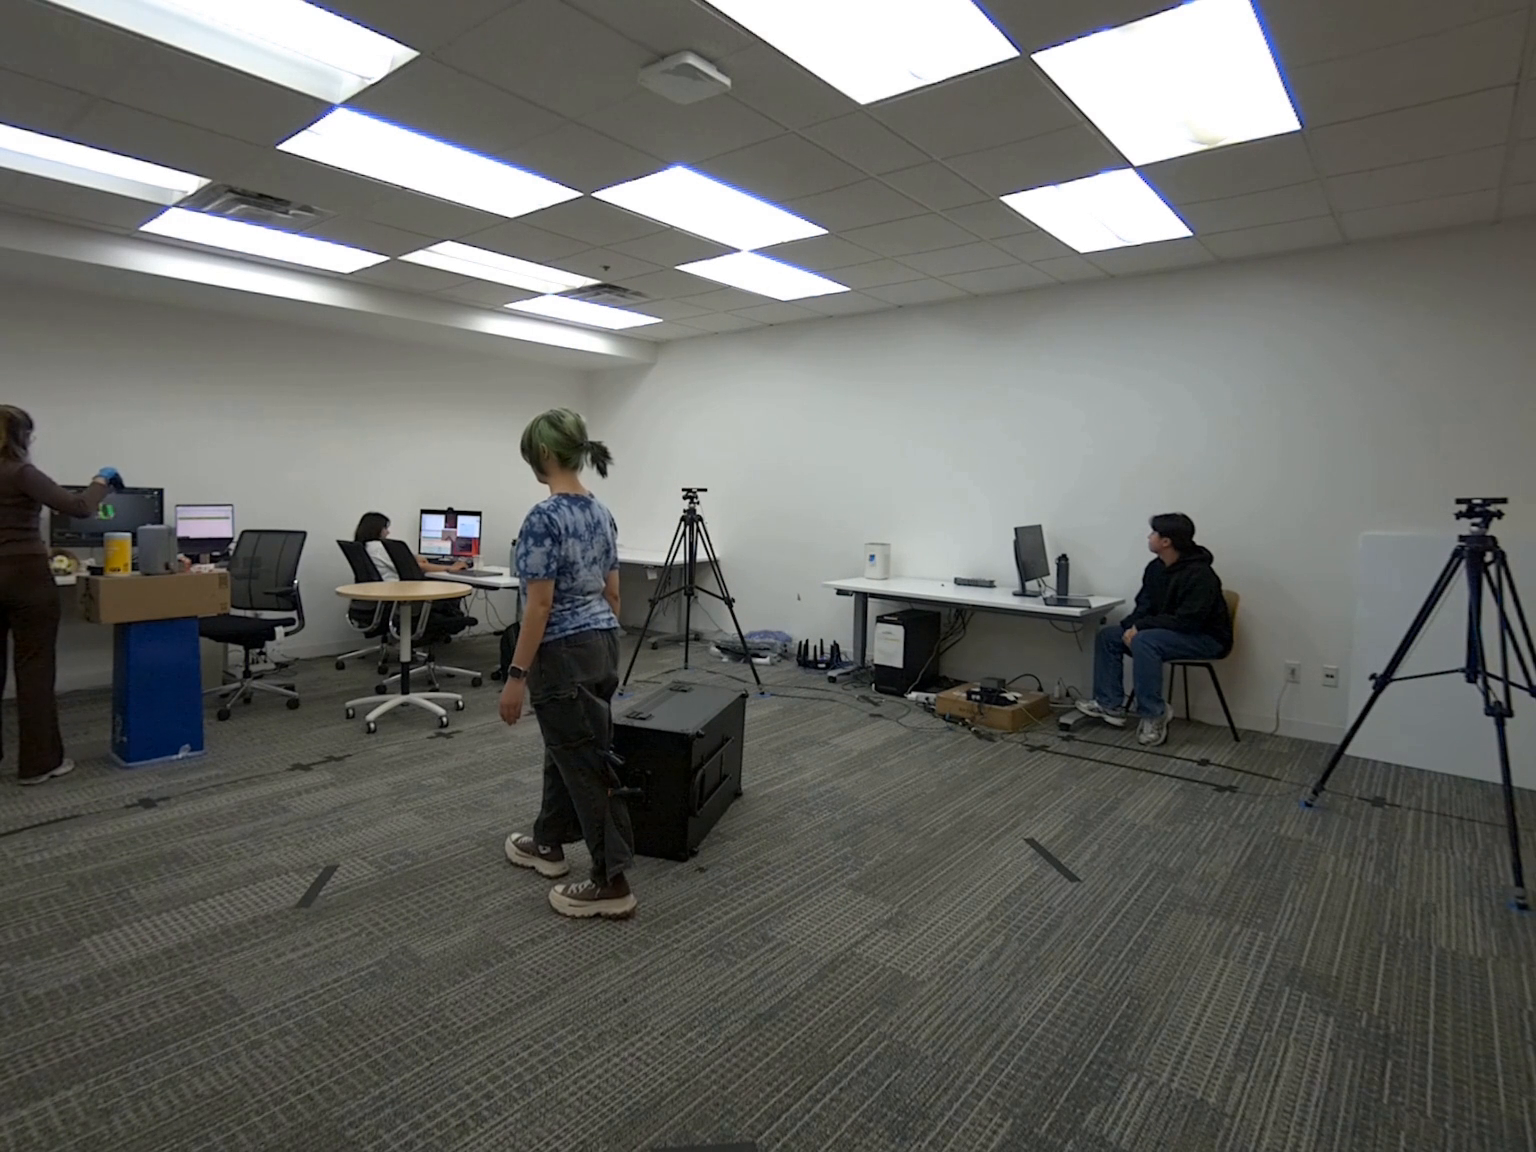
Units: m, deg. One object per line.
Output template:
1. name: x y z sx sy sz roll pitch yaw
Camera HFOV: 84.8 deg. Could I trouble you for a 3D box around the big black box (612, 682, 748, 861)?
1. big black box: -0.358 0.763 3.592 0.403 0.519 0.851 5 6 13
